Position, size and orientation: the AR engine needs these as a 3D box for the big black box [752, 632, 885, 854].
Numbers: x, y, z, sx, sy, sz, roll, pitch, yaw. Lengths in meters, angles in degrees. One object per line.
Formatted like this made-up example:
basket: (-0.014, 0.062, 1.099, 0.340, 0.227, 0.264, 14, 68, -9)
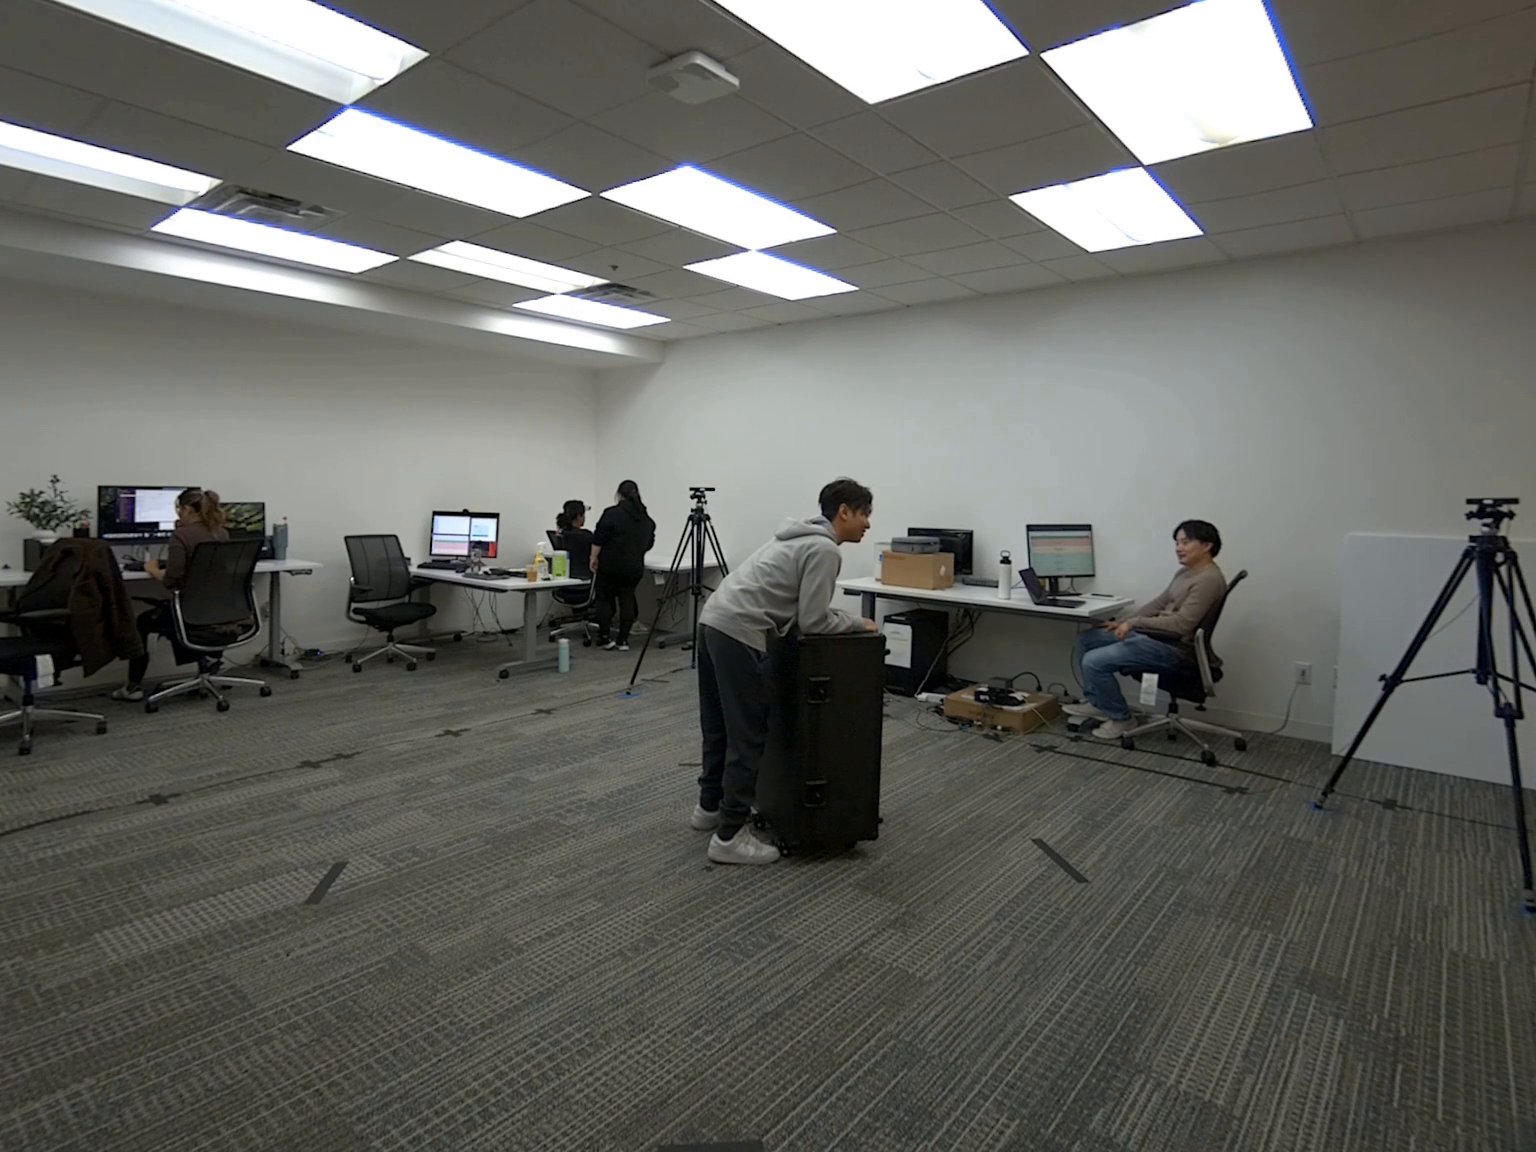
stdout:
big black box: (0.187, 0.621, 3.398, 0.388, 0.859, 0.533, 1, 3, -20)
